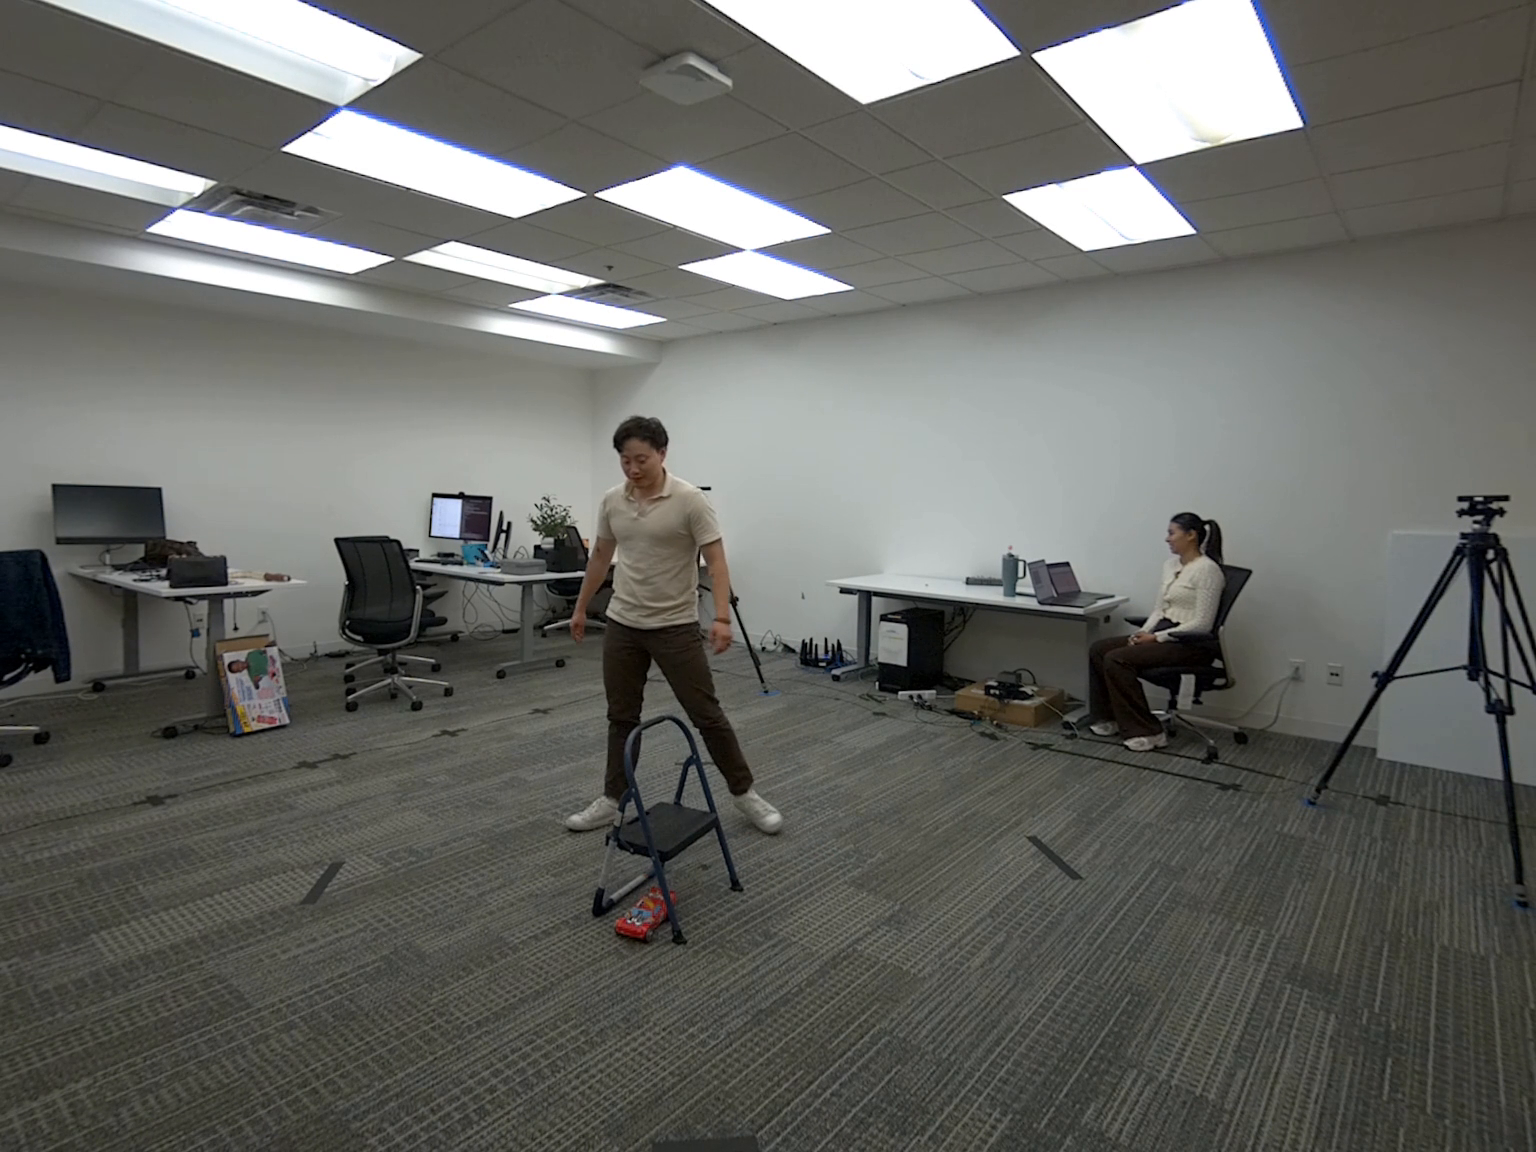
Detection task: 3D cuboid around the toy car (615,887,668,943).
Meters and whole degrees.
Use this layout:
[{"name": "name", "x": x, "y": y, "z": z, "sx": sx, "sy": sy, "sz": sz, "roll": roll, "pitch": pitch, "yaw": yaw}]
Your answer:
[{"name": "toy car", "x": -0.392, "y": 1.071, "z": 2.701, "sx": 0.133, "sy": 0.082, "sz": 0.252, "roll": 2, "pitch": 18, "yaw": 22}]
